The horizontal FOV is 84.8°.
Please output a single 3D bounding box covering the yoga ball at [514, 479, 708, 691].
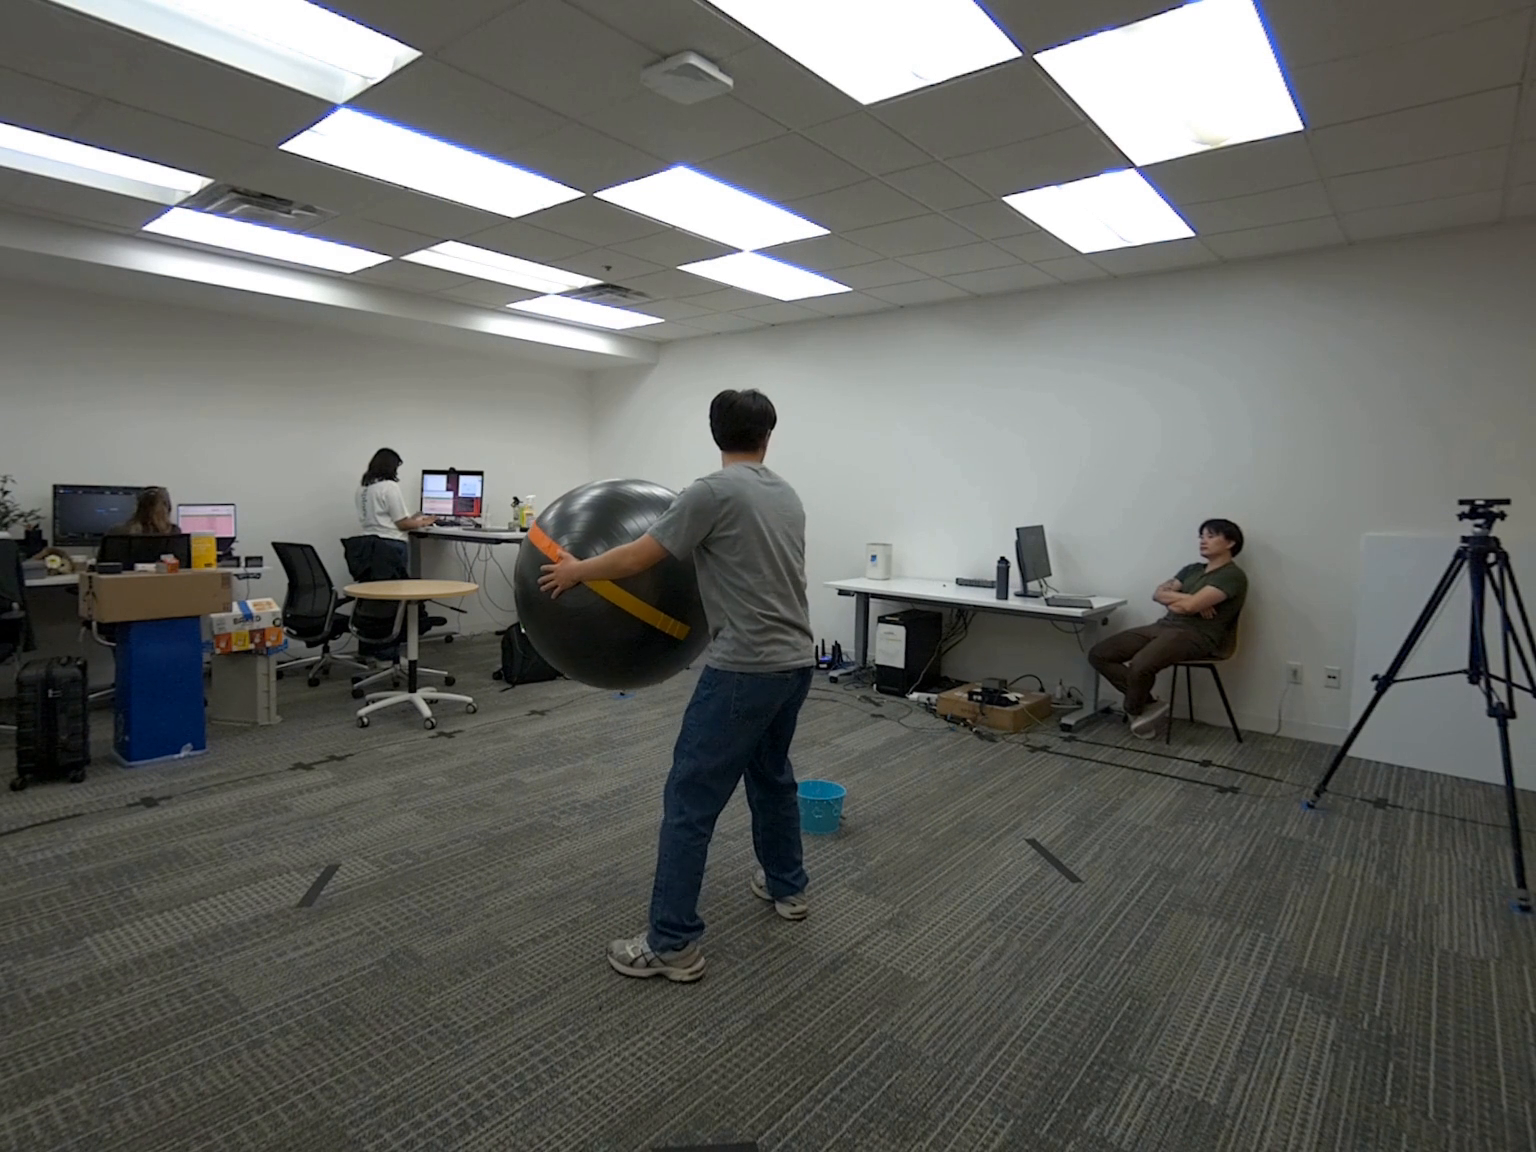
[{"bbox_3d":[-0.544,0.042,3.057,0.757,0.755,0.762,1,4,-2],"label":"yoga ball"}]
